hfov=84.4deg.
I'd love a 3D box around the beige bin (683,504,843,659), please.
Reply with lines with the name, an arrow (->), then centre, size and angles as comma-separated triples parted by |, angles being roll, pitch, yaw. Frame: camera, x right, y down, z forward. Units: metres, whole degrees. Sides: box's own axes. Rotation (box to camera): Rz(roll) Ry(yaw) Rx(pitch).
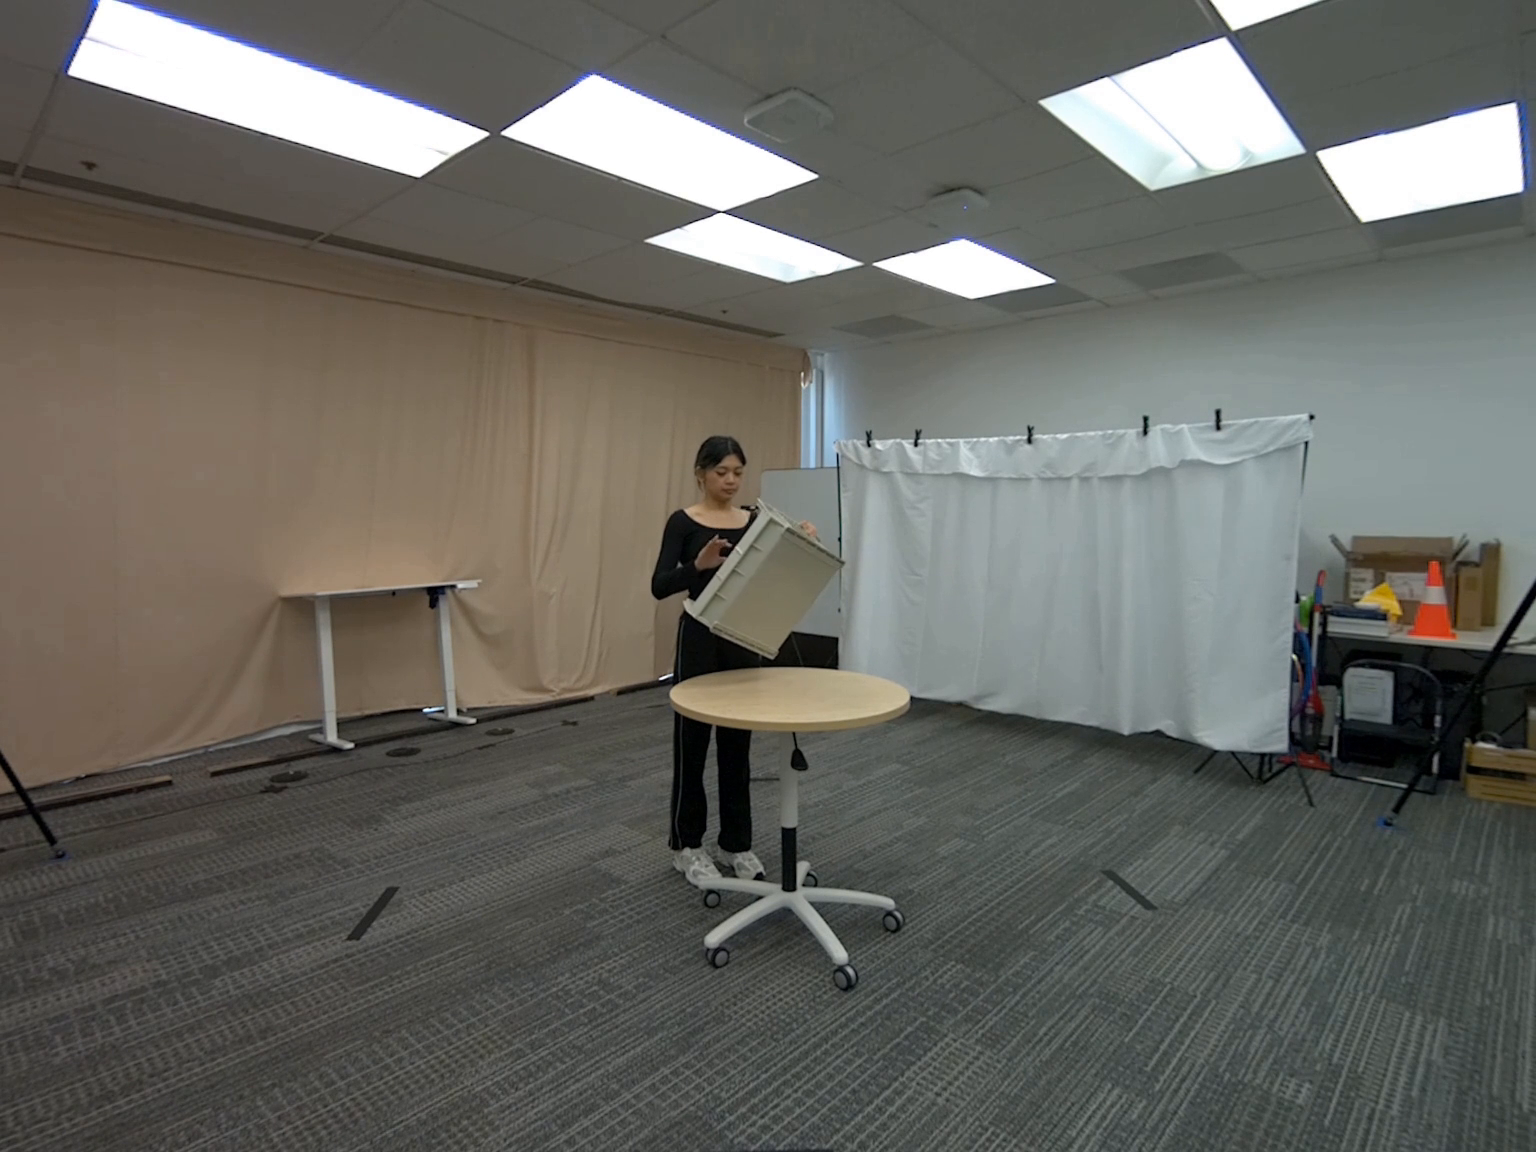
beige bin -> -0.013, 0.012, 2.771 | 0.364, 0.423, 0.196 | 29, 13, -41
